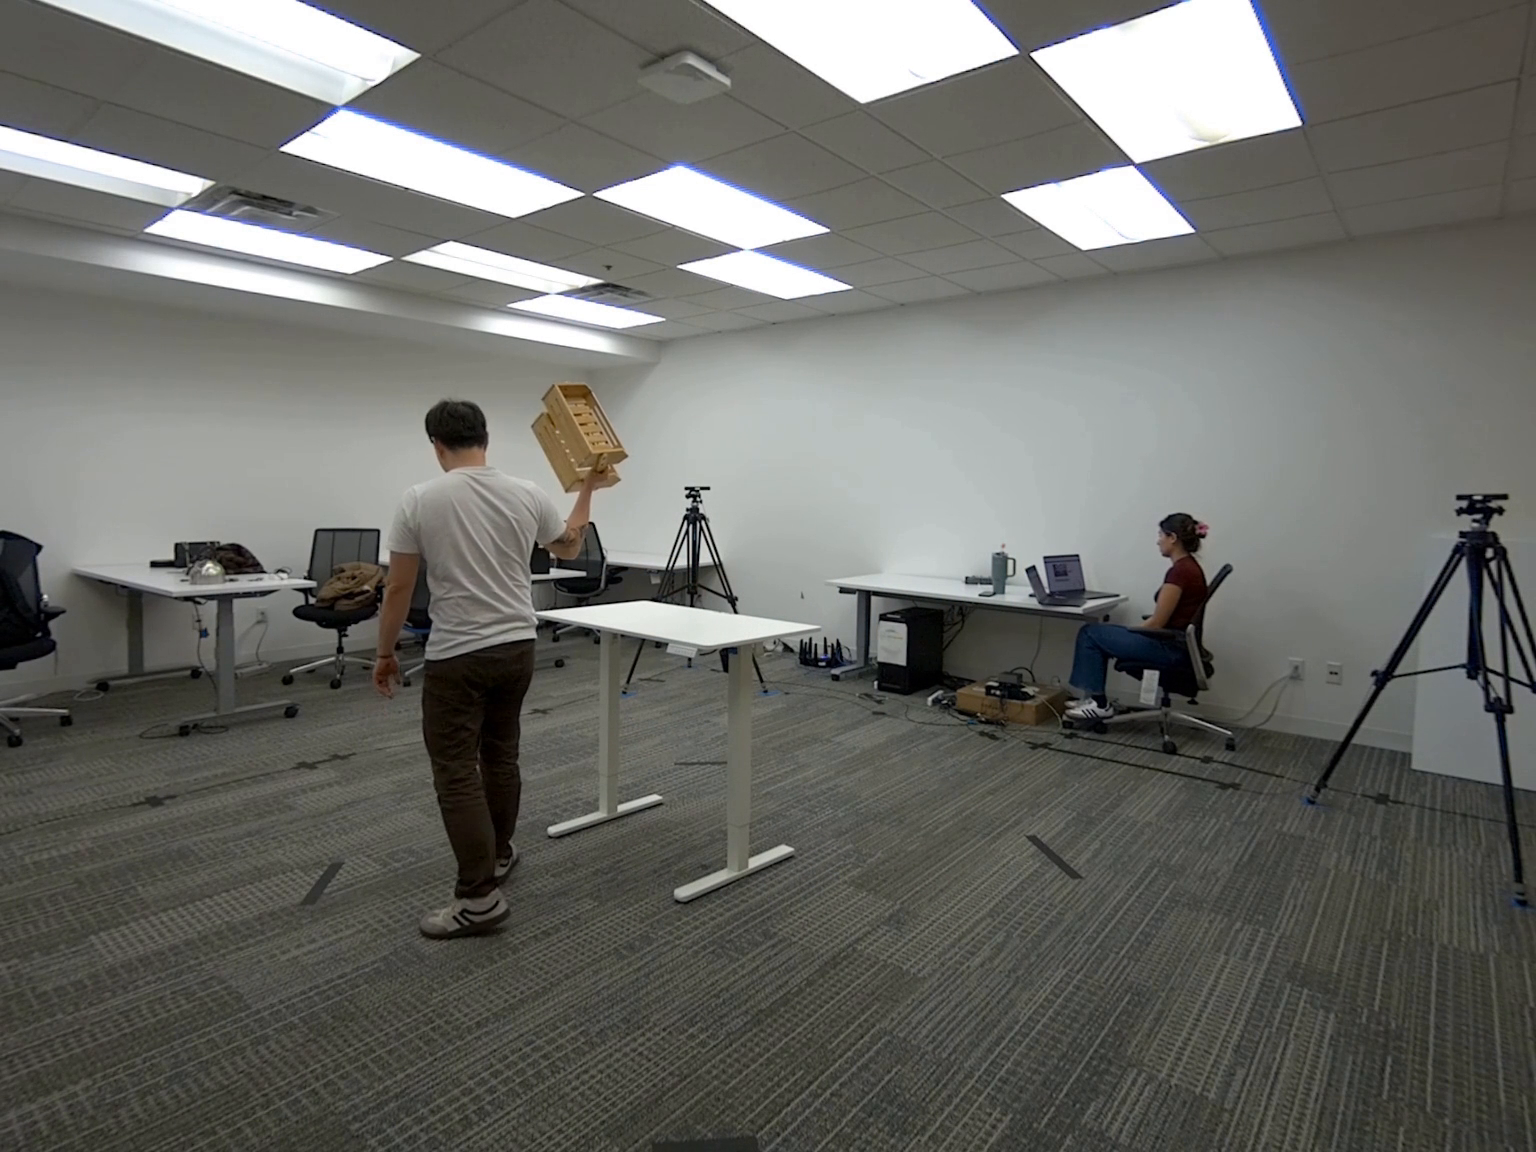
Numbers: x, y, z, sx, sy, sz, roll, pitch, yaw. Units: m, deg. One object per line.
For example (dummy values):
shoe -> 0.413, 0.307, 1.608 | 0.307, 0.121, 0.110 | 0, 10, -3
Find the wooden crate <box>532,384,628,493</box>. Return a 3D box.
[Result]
wooden crate -> -0.675, -0.515, 3.125 | 0.295, 0.331, 0.275 | -15, -19, -50
